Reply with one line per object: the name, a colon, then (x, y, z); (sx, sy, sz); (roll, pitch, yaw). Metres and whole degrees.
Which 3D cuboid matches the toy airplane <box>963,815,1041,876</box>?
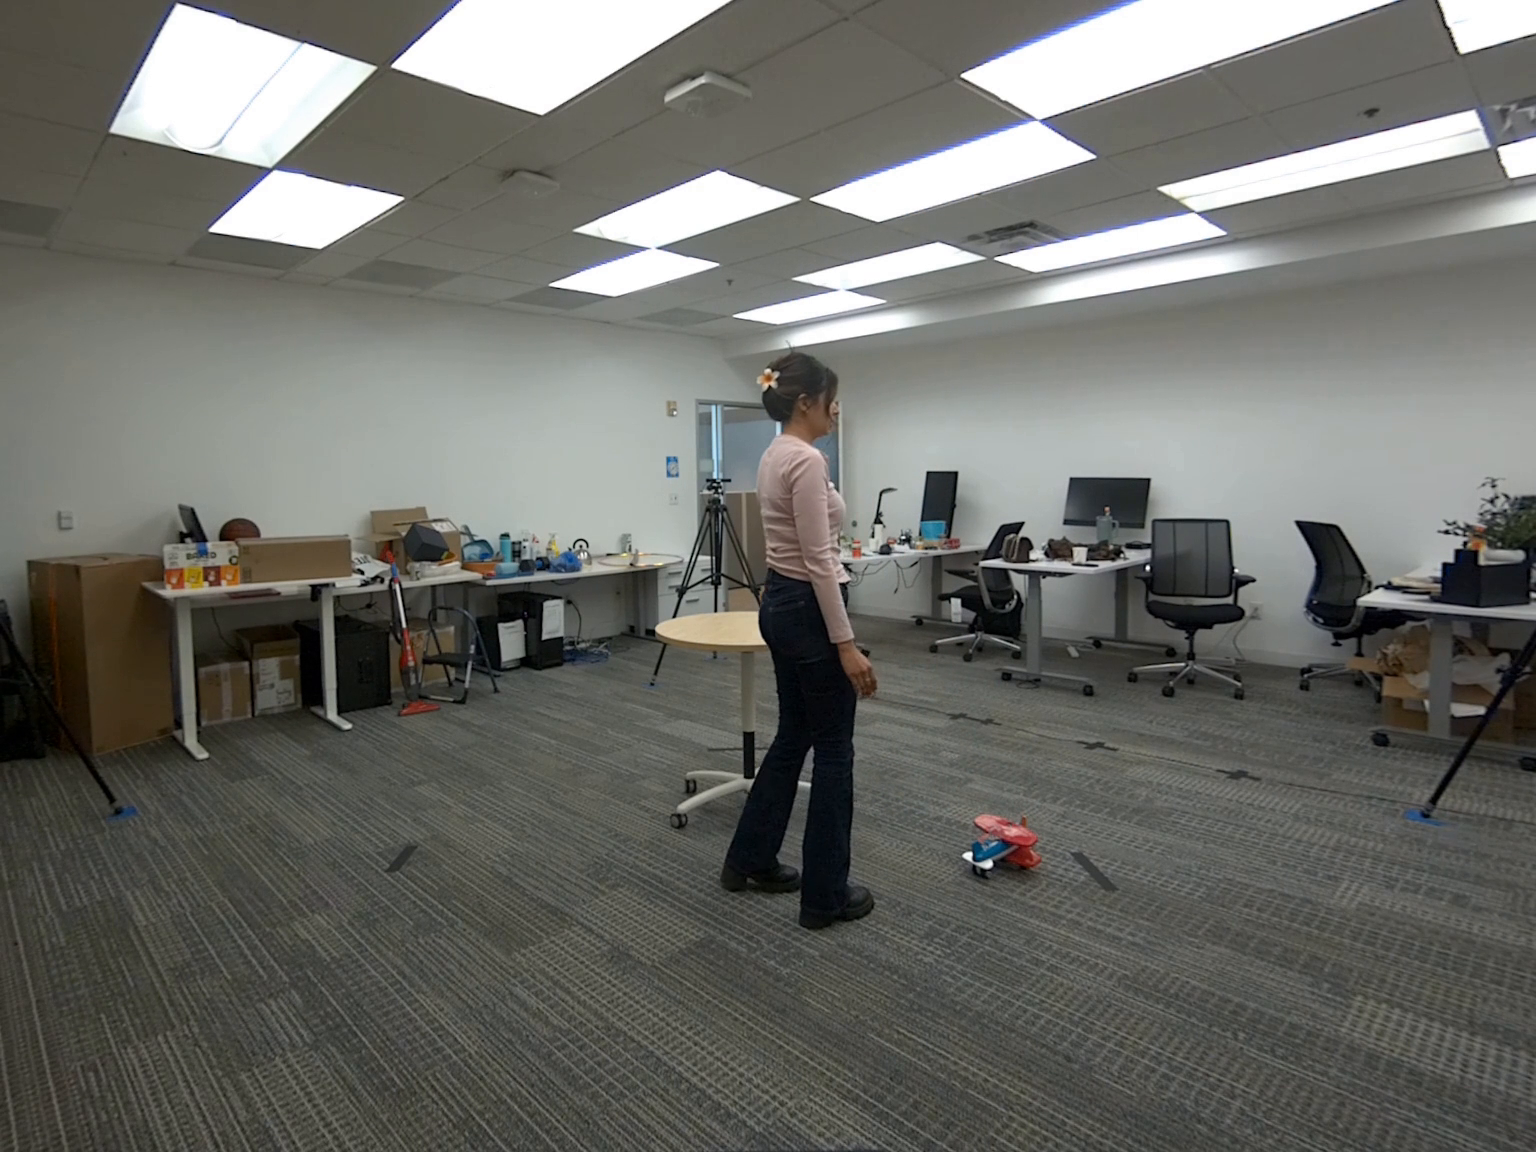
toy airplane: (0.835, 0.968, 3.012); (0.258, 0.156, 0.253); (2, 5, 30)
